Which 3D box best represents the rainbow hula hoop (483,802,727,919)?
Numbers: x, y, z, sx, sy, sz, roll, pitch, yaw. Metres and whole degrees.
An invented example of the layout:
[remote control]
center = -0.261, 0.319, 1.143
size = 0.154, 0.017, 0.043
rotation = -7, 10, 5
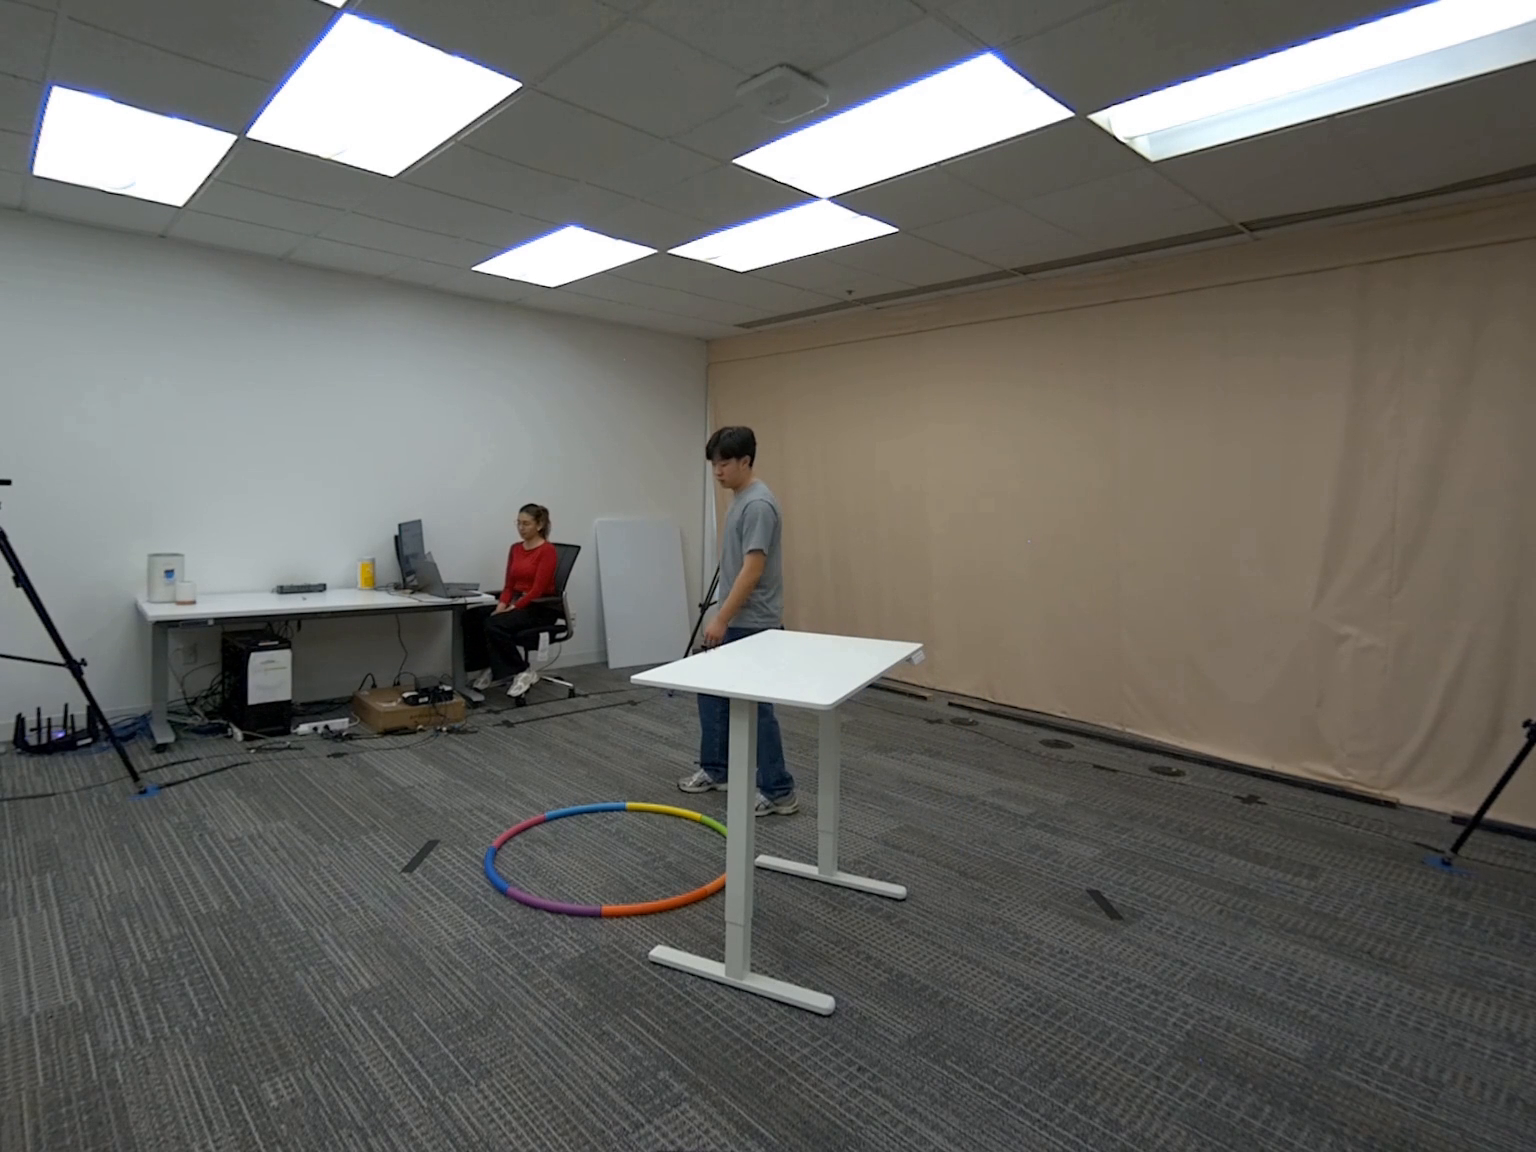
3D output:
[rainbow hula hoop]
center = -0.592, 1.050, 3.264
size = 0.978, 0.035, 0.982
rotation = 1, 5, -1
